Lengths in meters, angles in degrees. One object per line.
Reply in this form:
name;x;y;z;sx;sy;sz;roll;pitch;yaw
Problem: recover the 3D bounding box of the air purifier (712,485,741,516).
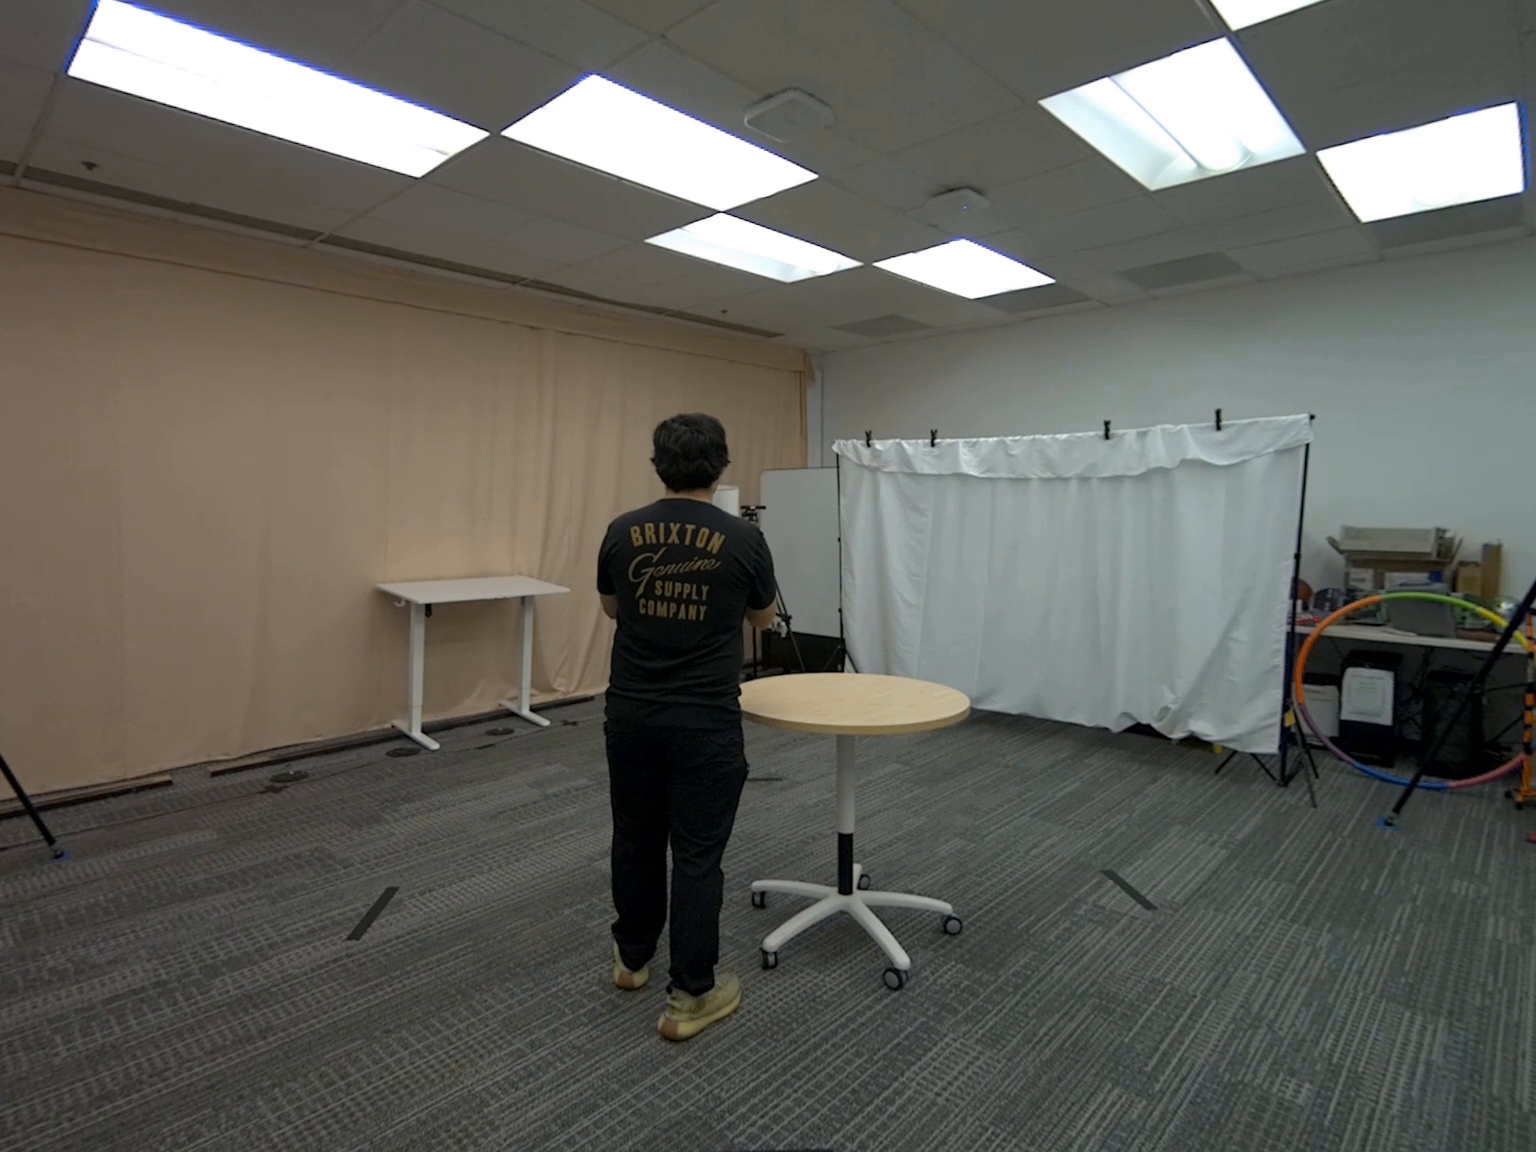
air purifier;-0.183;-0.154;2.643;0.172;0.264;0.171;4;9;2
